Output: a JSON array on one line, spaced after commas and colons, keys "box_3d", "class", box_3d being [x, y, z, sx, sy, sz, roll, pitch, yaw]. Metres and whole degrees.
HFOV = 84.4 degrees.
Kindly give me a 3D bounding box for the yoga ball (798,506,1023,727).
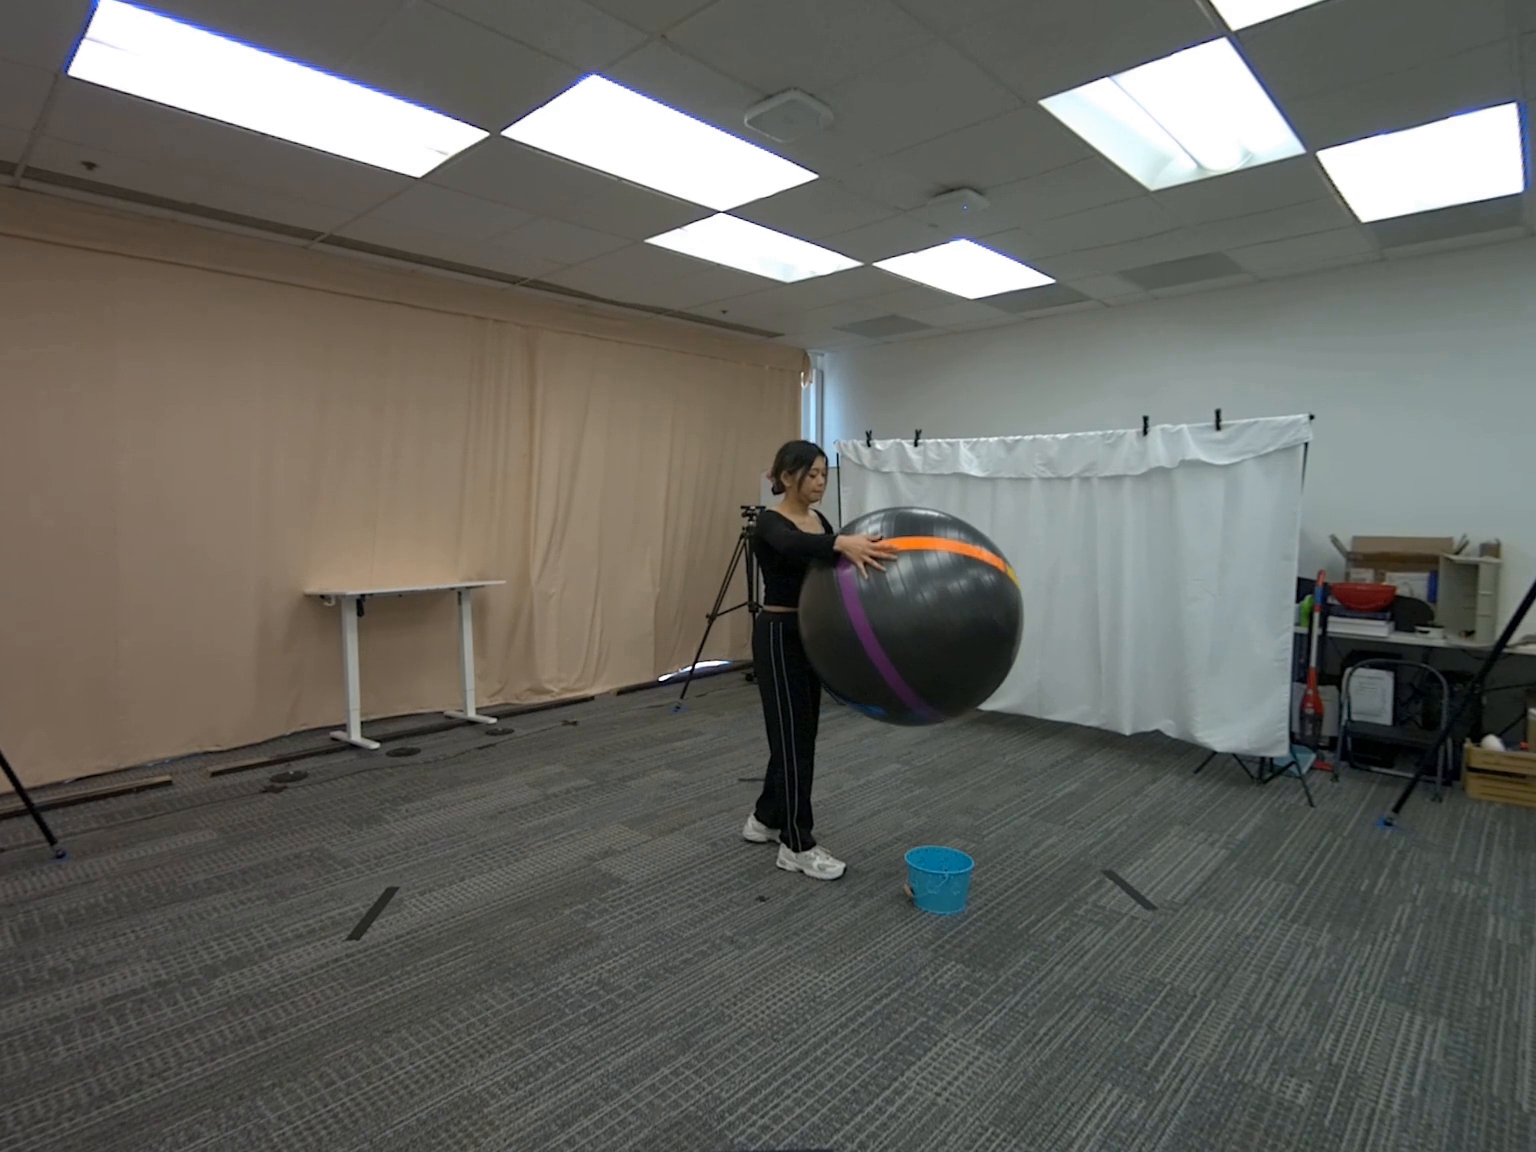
[{"box_3d": [0.502, 0.145, 2.918, 0.757, 0.756, 0.760, 0, 4, -2], "class": "yoga ball"}]
